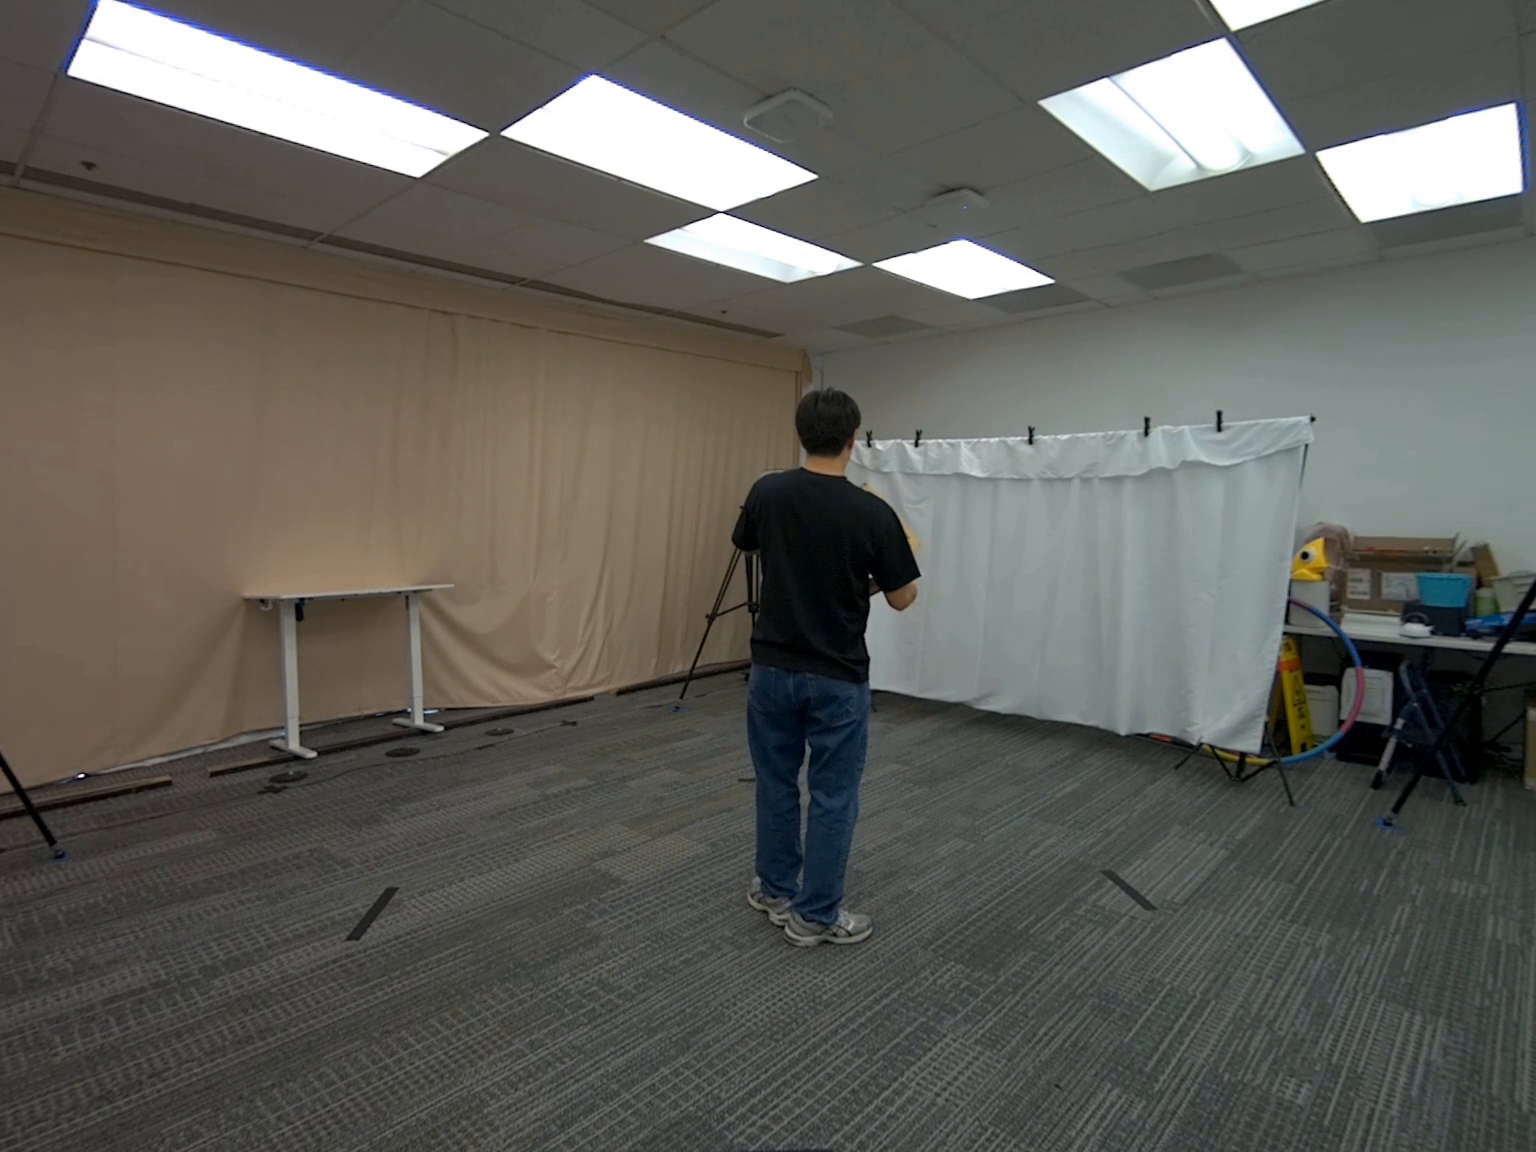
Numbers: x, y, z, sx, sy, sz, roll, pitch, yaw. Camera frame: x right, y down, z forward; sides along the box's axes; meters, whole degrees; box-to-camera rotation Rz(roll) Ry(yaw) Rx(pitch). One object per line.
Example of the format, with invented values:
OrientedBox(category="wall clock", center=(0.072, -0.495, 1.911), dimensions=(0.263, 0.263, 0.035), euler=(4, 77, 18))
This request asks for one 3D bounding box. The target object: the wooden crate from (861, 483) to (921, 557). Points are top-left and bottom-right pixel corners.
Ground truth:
OrientedBox(category="wooden crate", center=(0.314, -0.110, 2.969), dimensions=(0.270, 0.324, 0.306), euler=(-42, 3, -33))
